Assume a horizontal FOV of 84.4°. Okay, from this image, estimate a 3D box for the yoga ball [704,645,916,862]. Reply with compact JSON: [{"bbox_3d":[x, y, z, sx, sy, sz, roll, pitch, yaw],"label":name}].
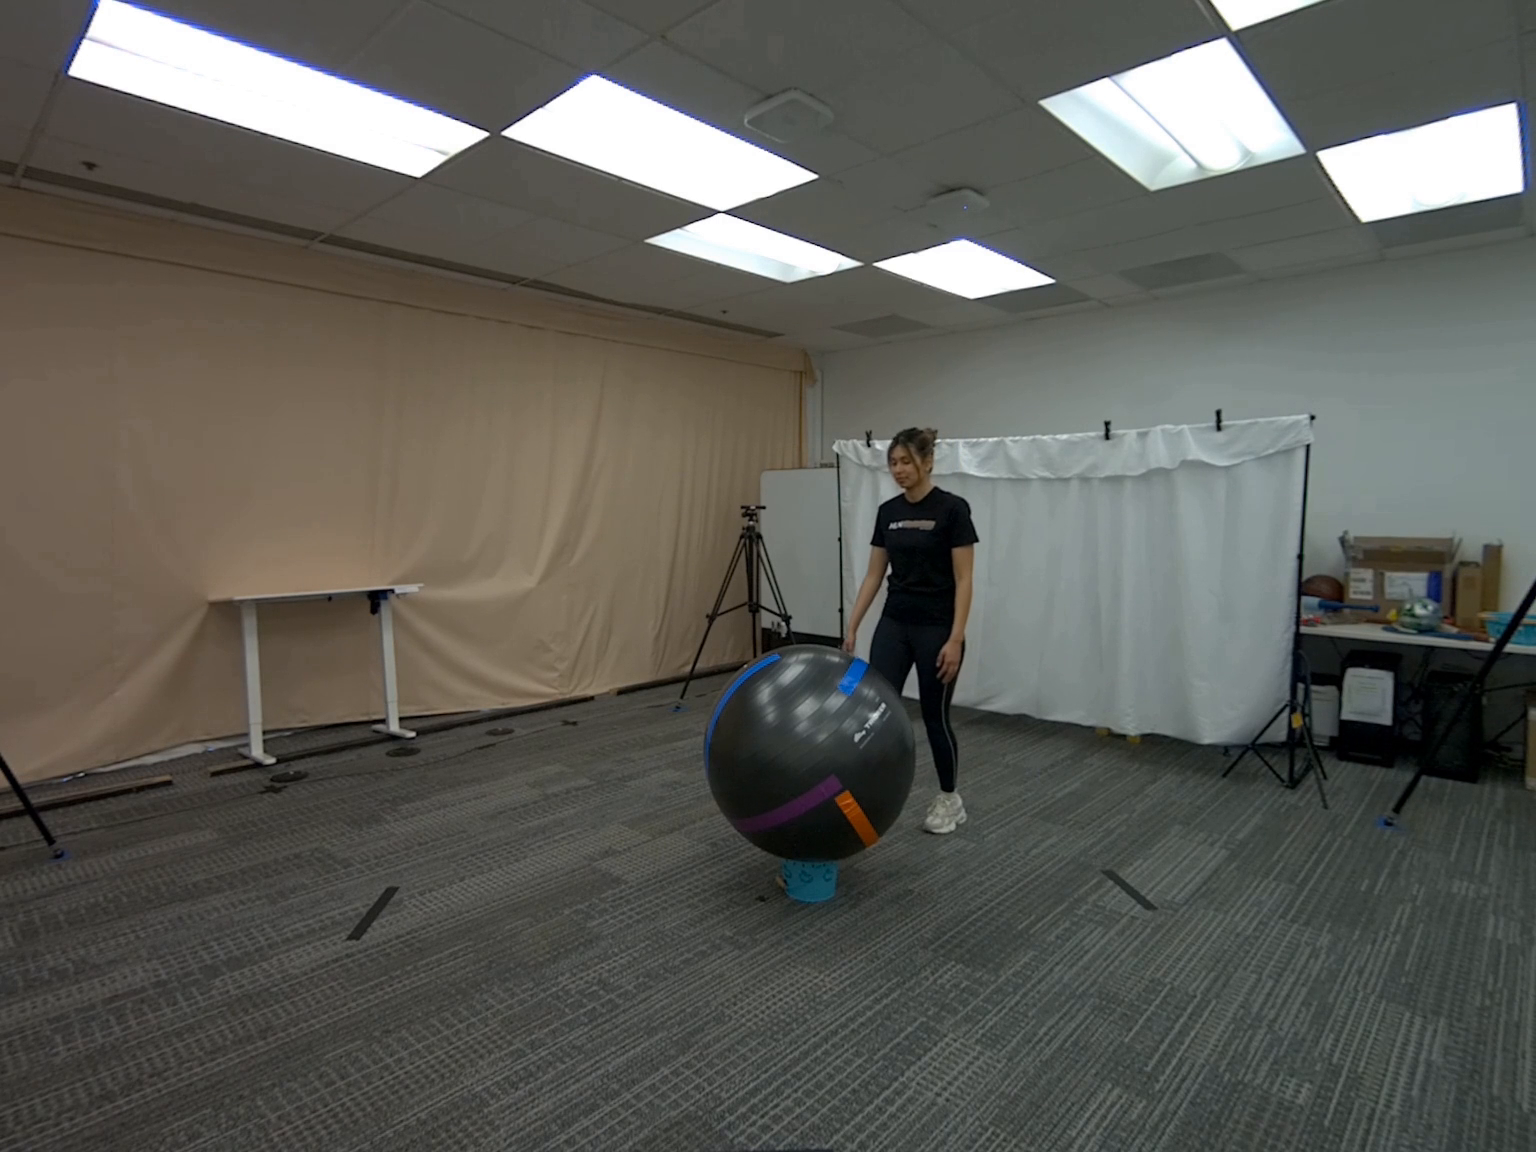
[{"bbox_3d":[0.145,0.628,3.025,0.757,0.756,0.760,0,4,-2],"label":"yoga ball"}]
